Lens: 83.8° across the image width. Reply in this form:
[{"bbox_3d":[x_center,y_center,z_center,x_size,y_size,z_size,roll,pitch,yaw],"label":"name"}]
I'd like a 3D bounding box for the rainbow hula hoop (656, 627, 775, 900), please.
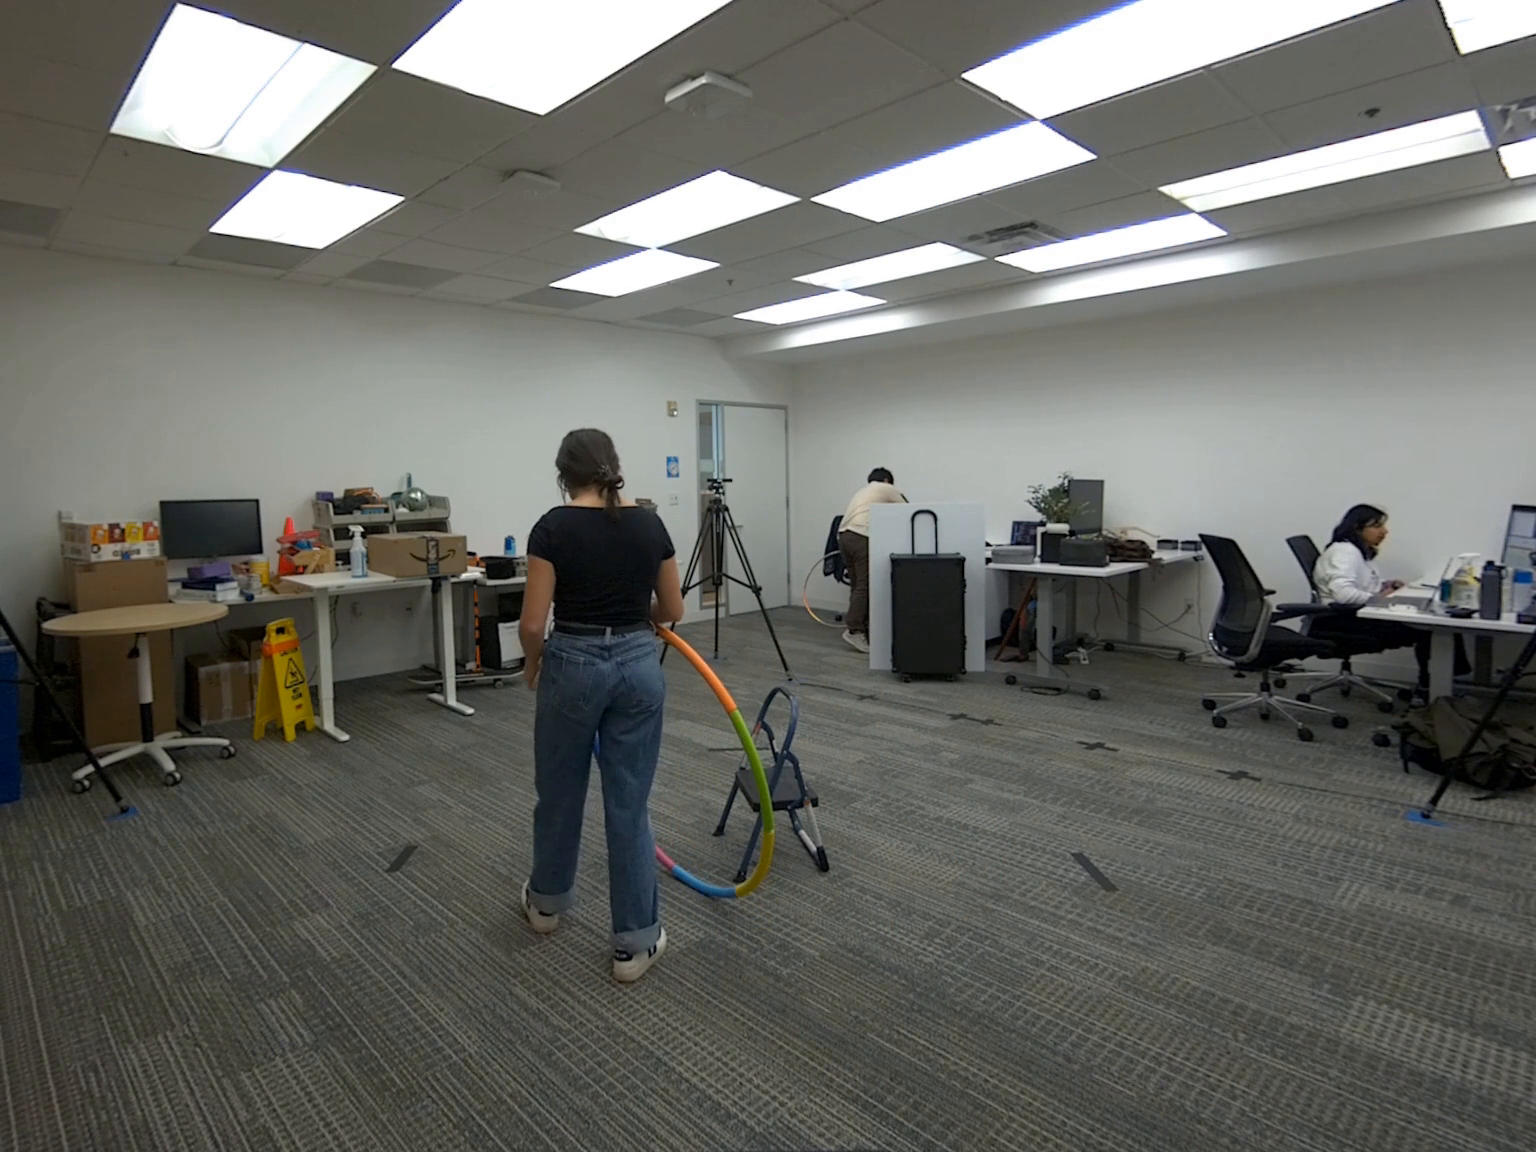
[{"bbox_3d":[-0.332,0.604,2.847,0.035,0.966,1.009,-20,16,-39],"label":"rainbow hula hoop"}]
